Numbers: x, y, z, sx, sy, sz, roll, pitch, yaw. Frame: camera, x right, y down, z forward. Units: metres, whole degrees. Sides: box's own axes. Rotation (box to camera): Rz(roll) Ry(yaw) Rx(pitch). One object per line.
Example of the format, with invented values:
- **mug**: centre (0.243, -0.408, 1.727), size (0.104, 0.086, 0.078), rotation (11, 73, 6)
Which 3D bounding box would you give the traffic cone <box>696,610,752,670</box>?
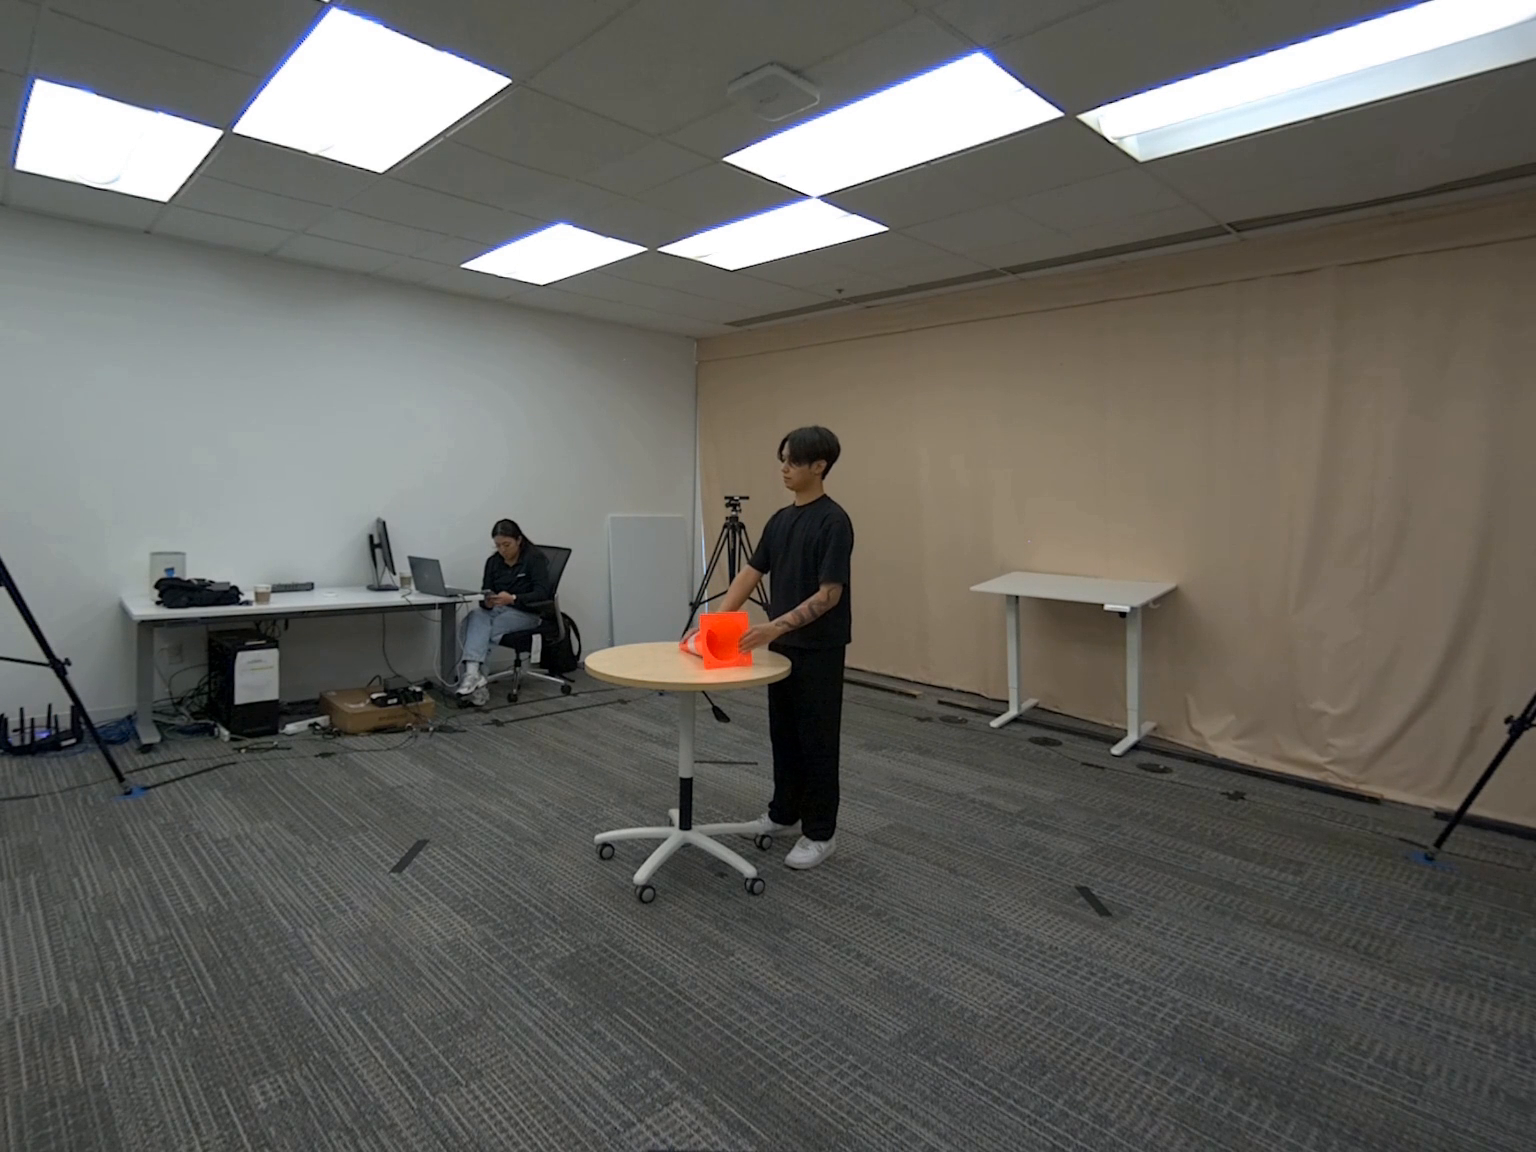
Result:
- **traffic cone**: centre (-0.250, 0.257, 3.193), size (0.199, 0.206, 0.390), rotation (-2, -5, -31)
